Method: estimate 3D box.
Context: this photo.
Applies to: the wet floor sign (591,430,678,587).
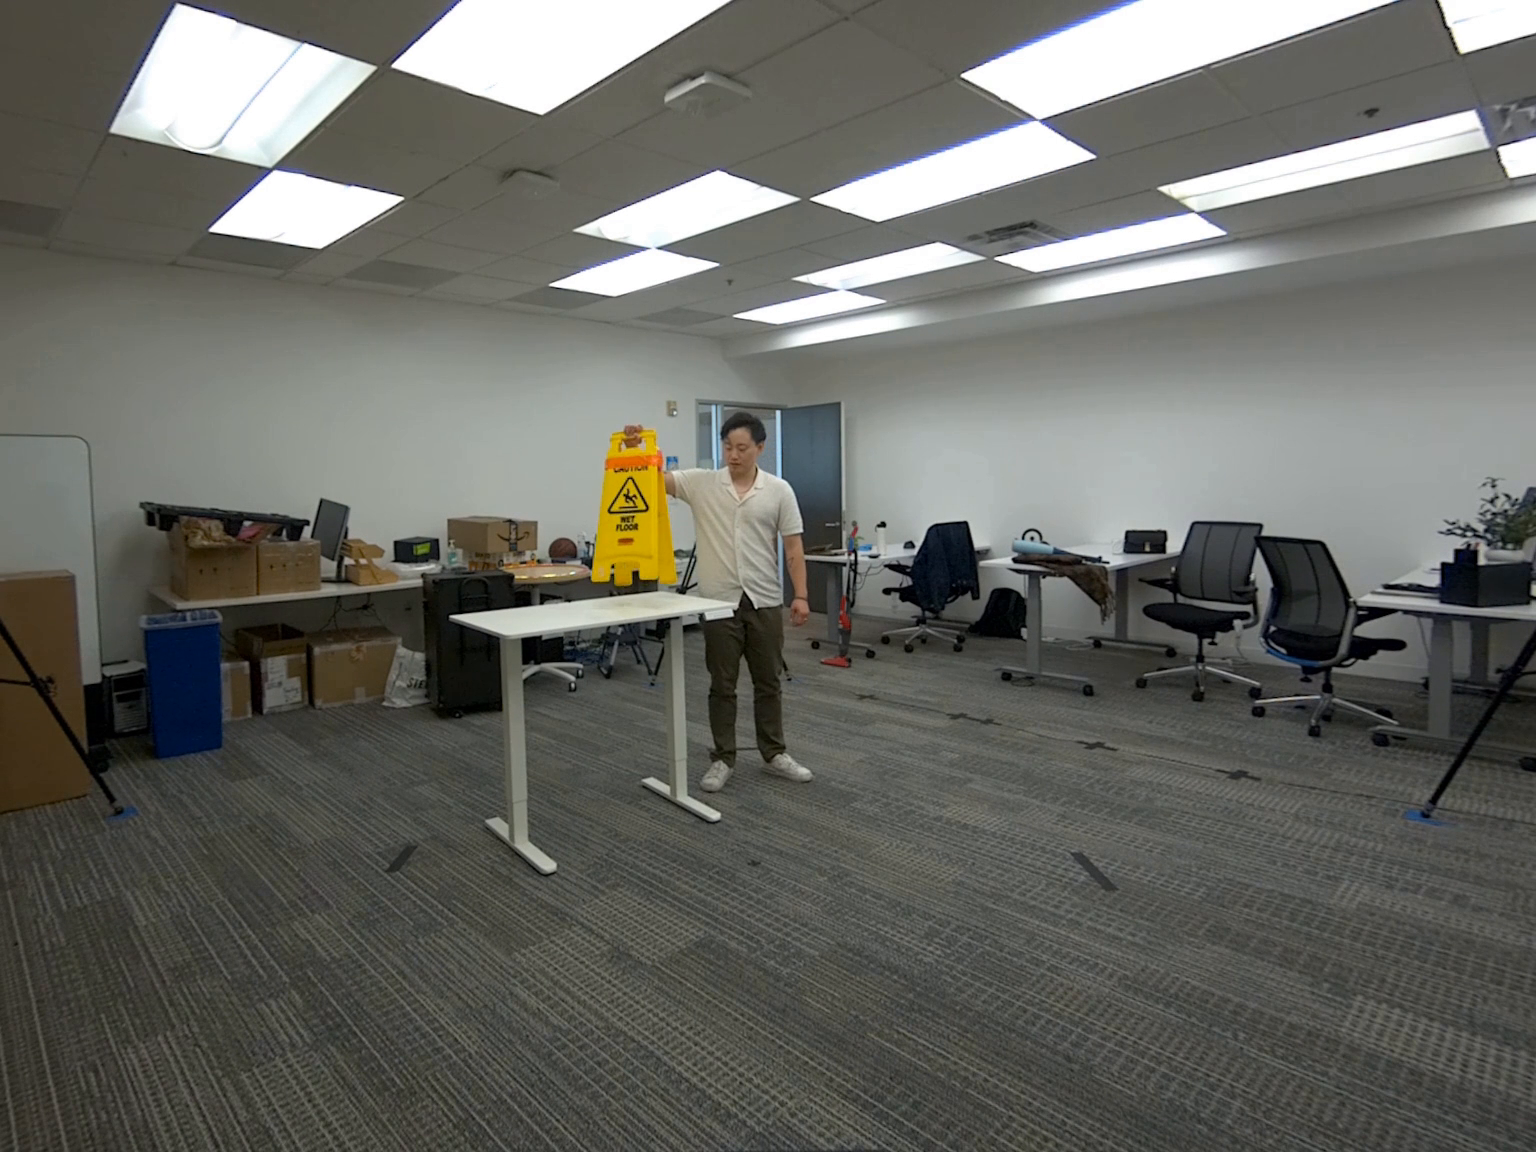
[{"bbox_3d":[-0.565,-0.298,3.583,0.286,0.649,0.285,-2,-5,12],"label":"wet floor sign"}]
